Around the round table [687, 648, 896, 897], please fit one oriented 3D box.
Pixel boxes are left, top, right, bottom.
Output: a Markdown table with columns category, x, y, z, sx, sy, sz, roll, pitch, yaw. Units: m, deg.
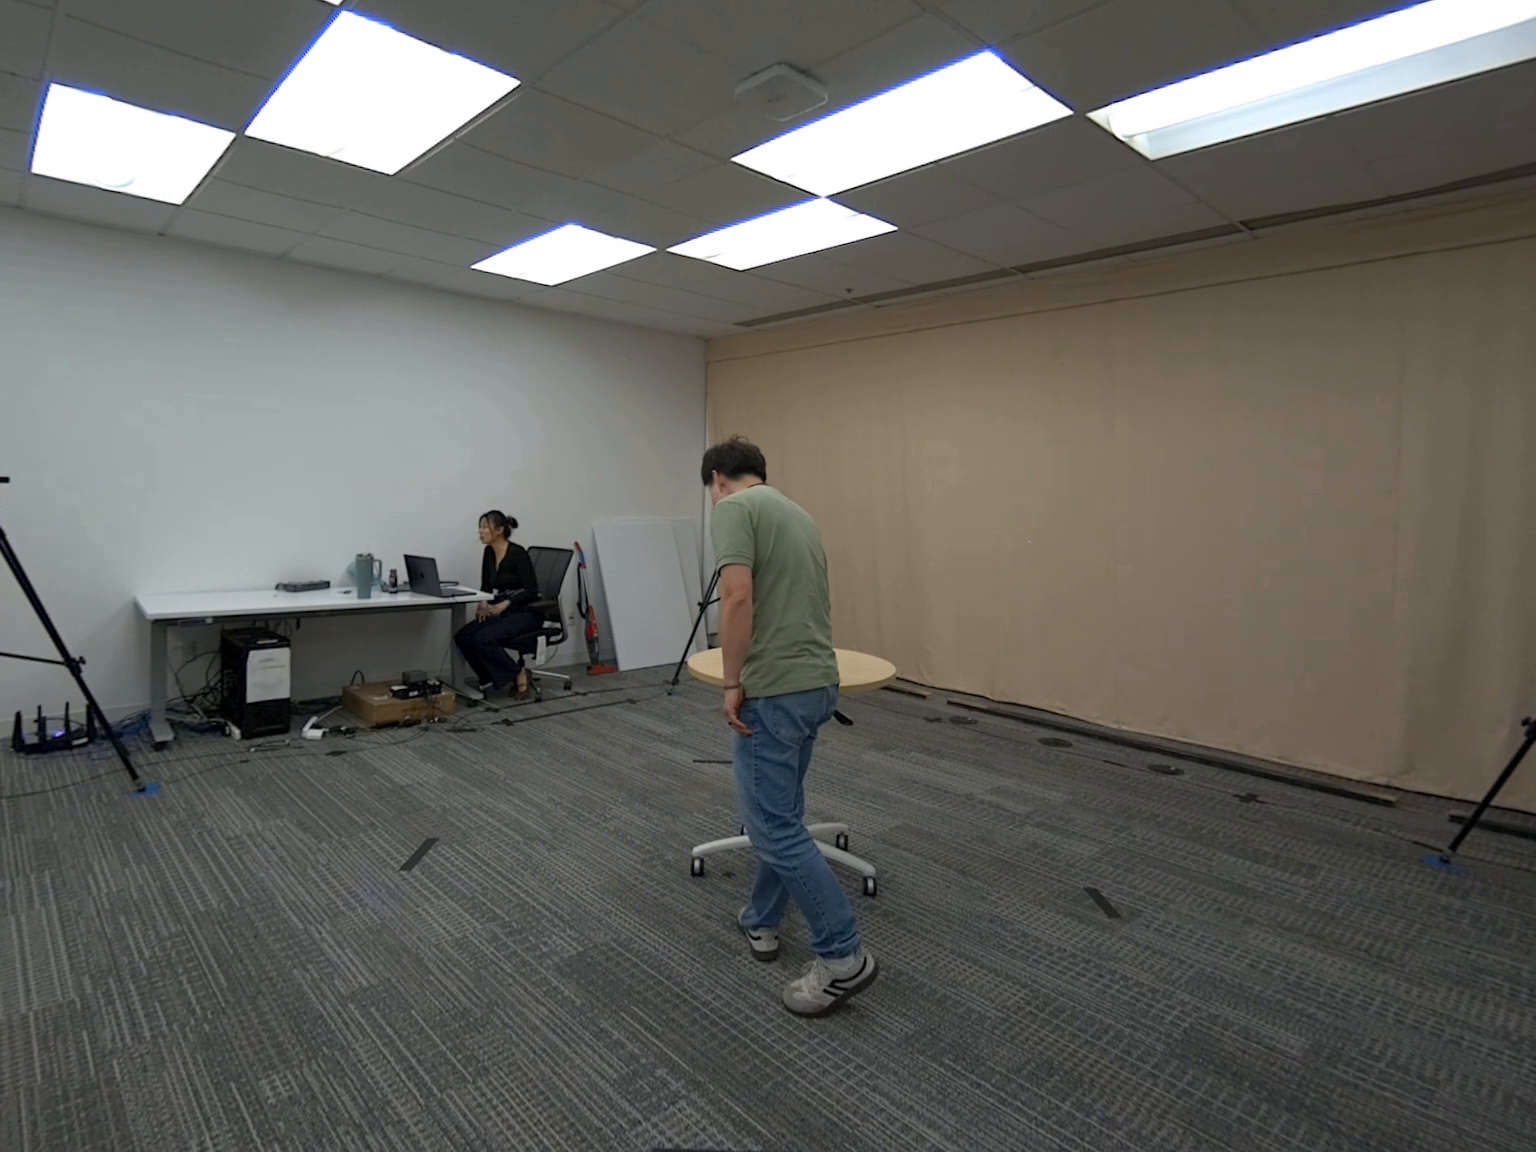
| category | x | y | z | sx | sy | sz | roll | pitch | yaw |
| --- | --- | --- | --- | --- | --- | --- | --- | --- | --- |
| round table | 0.072 | 0.719 | 3.135 | 0.763 | 0.792 | 0.767 | 1 | 4 | -1 |
